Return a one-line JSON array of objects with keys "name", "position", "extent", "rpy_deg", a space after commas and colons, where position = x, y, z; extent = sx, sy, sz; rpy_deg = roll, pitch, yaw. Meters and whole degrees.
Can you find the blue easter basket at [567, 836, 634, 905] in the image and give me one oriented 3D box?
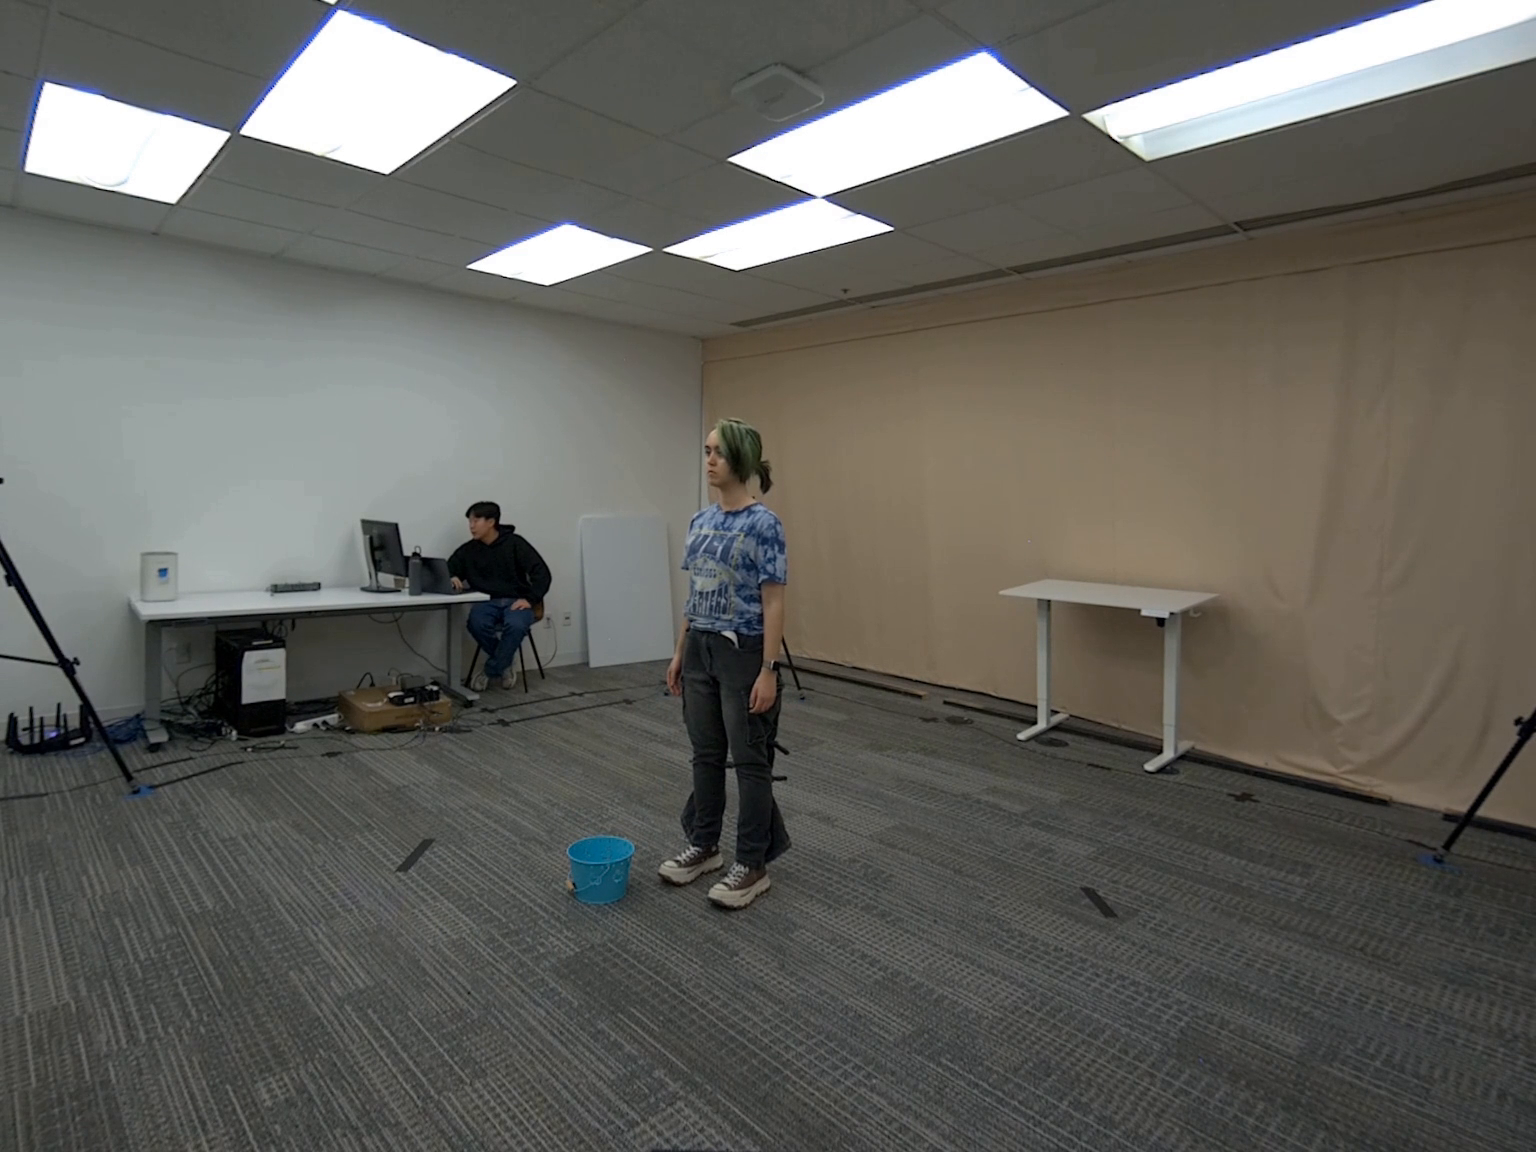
[{"name": "blue easter basket", "position": [-0.599, 1.028, 2.948], "extent": [0.243, 0.155, 0.244], "rpy_deg": [2, 5, -1]}]
